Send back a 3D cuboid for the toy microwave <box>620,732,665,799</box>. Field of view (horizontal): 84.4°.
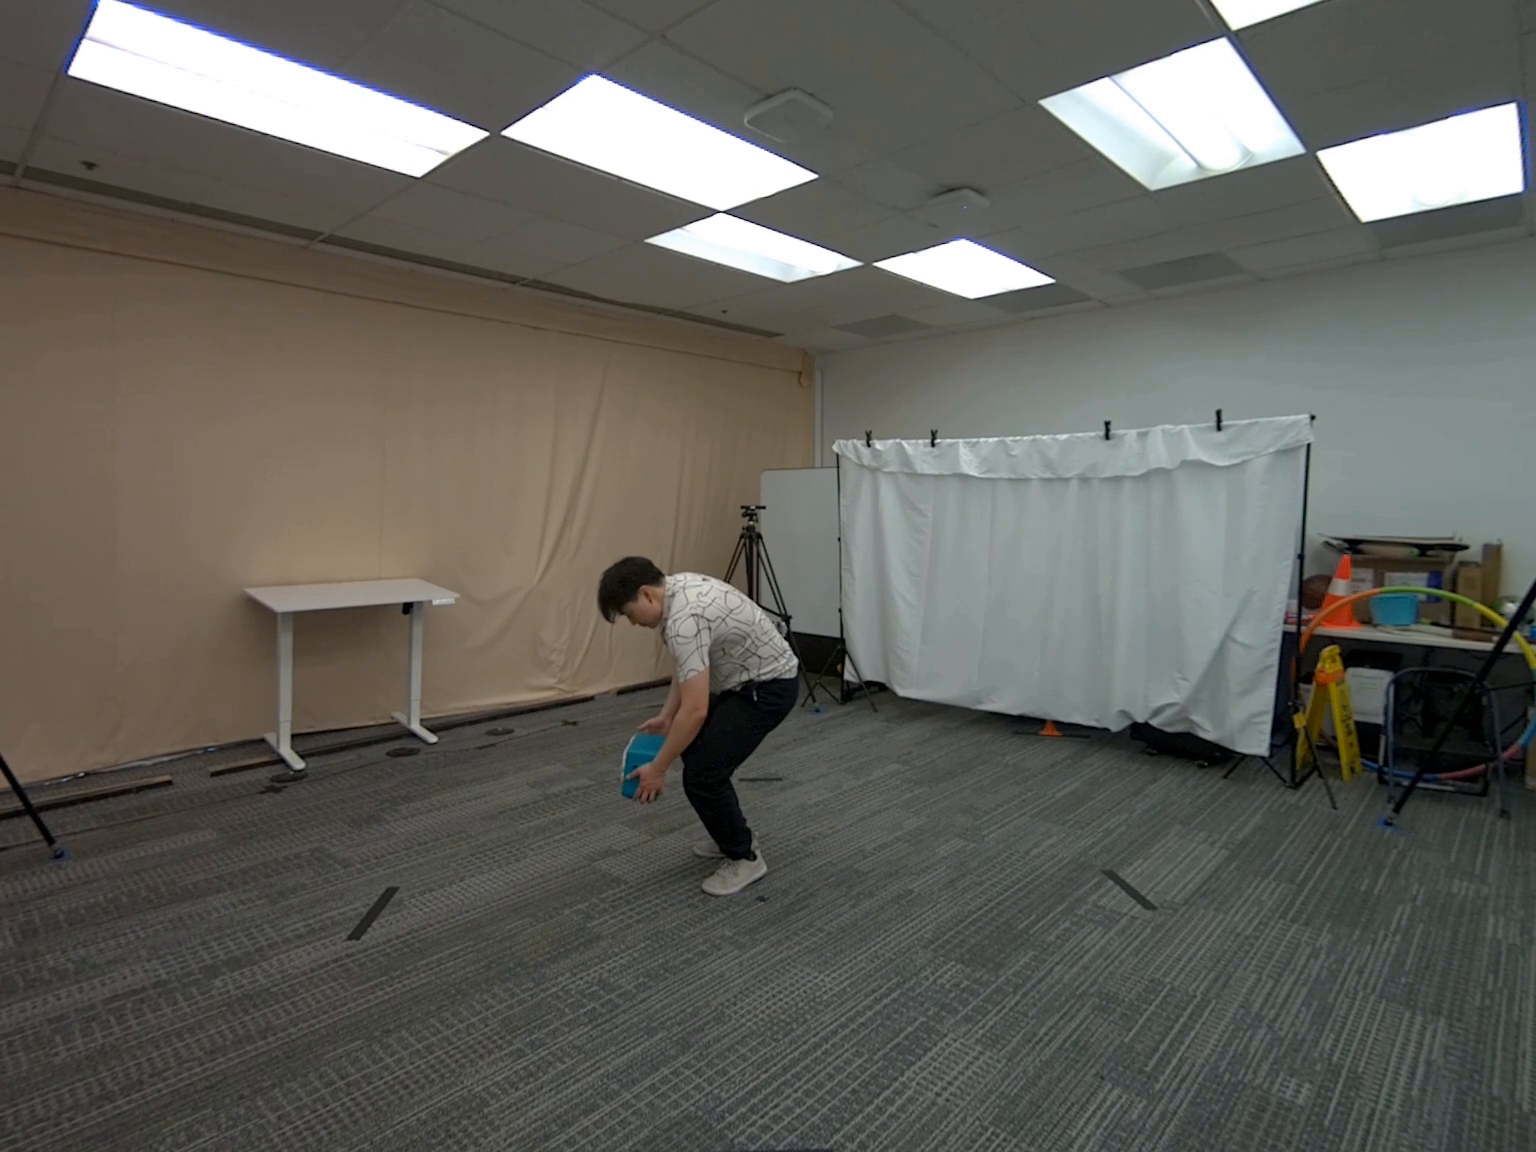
[{"bbox_3d":[-0.446,0.690,3.070,0.152,0.184,0.287,7,1,-3],"label":"toy microwave"}]
